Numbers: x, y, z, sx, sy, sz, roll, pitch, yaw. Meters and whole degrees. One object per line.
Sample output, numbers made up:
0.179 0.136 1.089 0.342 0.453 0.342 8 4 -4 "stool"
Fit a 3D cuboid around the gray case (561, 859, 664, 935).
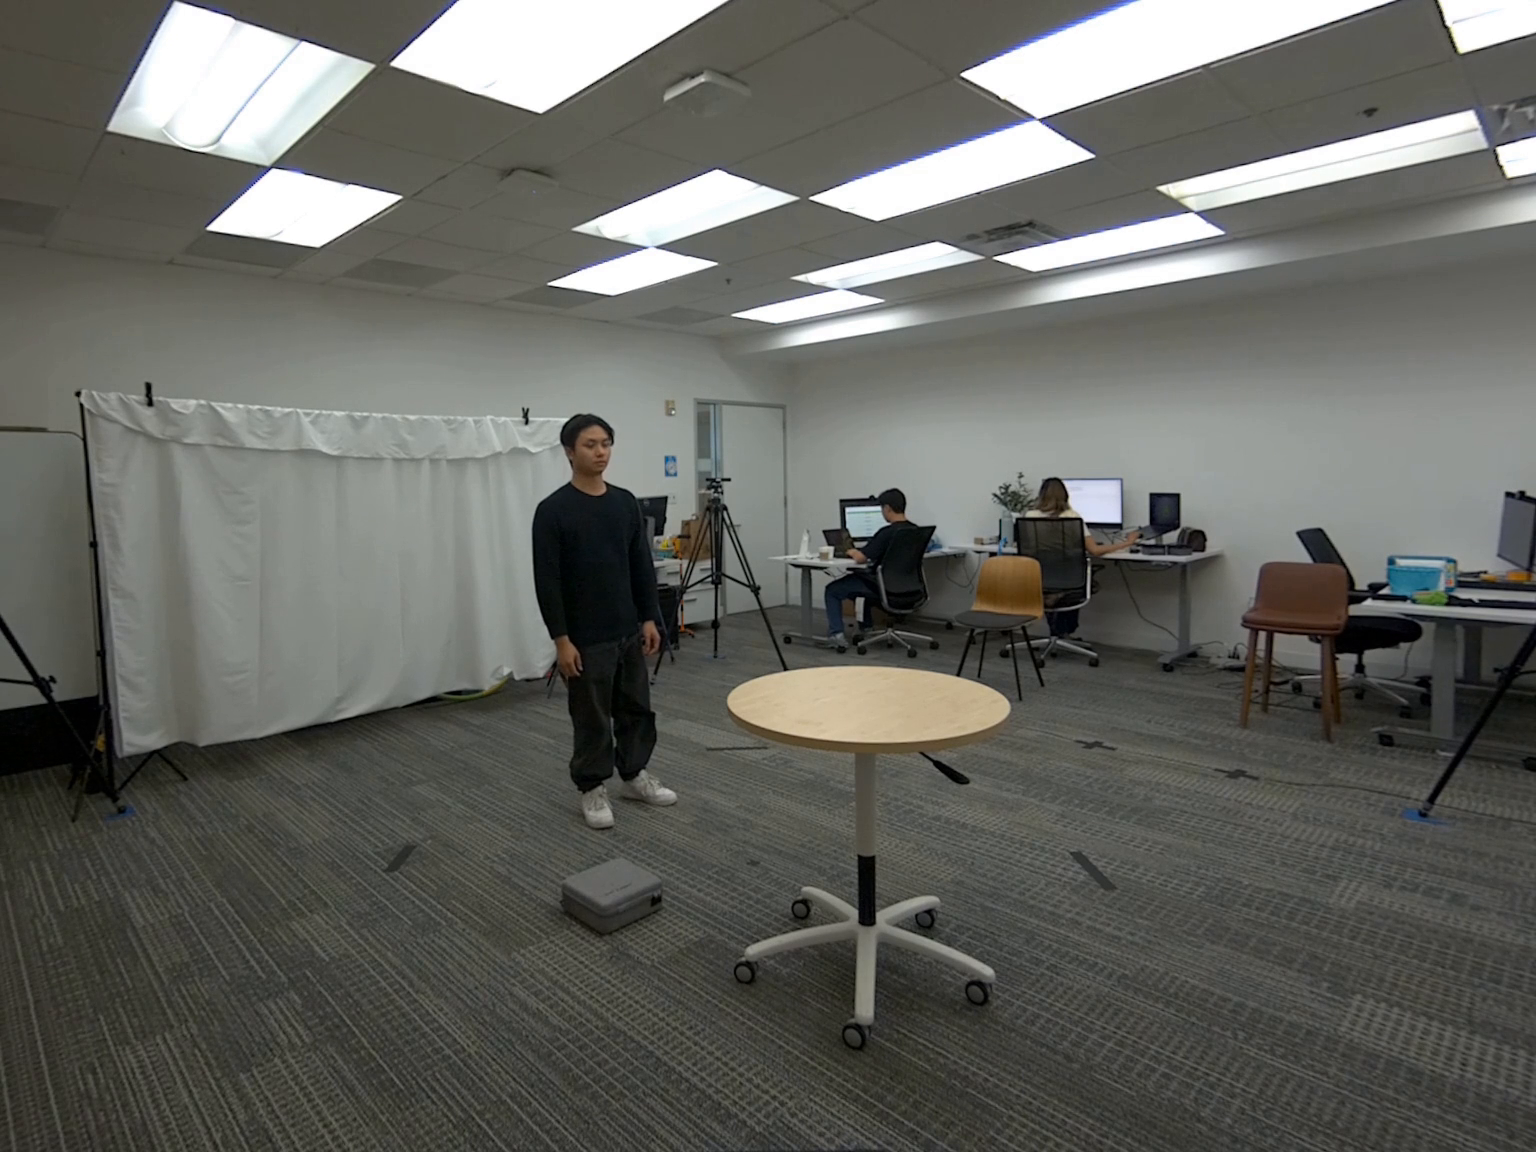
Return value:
-0.512 1.033 2.781 0.250 0.104 0.269 -9 10 -44 "gray case"
